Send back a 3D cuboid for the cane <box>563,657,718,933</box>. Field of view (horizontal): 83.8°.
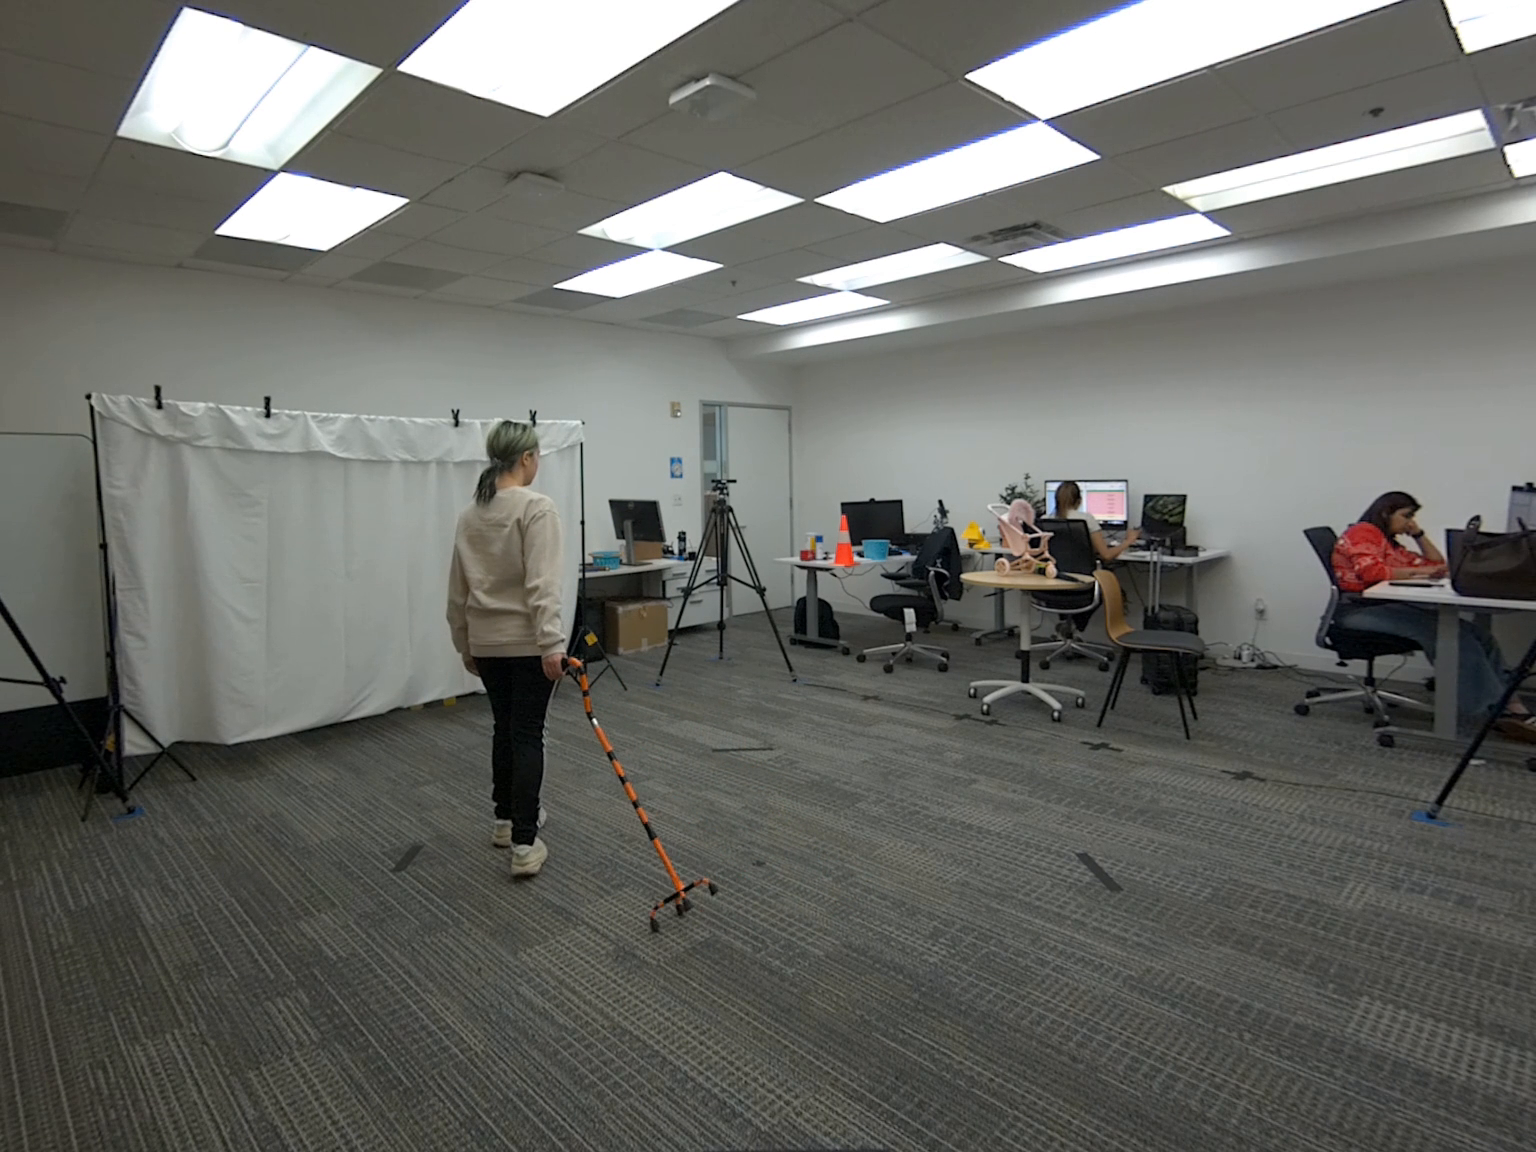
[{"bbox_3d":[-0.478,0.670,2.801,0.148,0.929,0.207,-8,-30,-51],"label":"cane"}]
